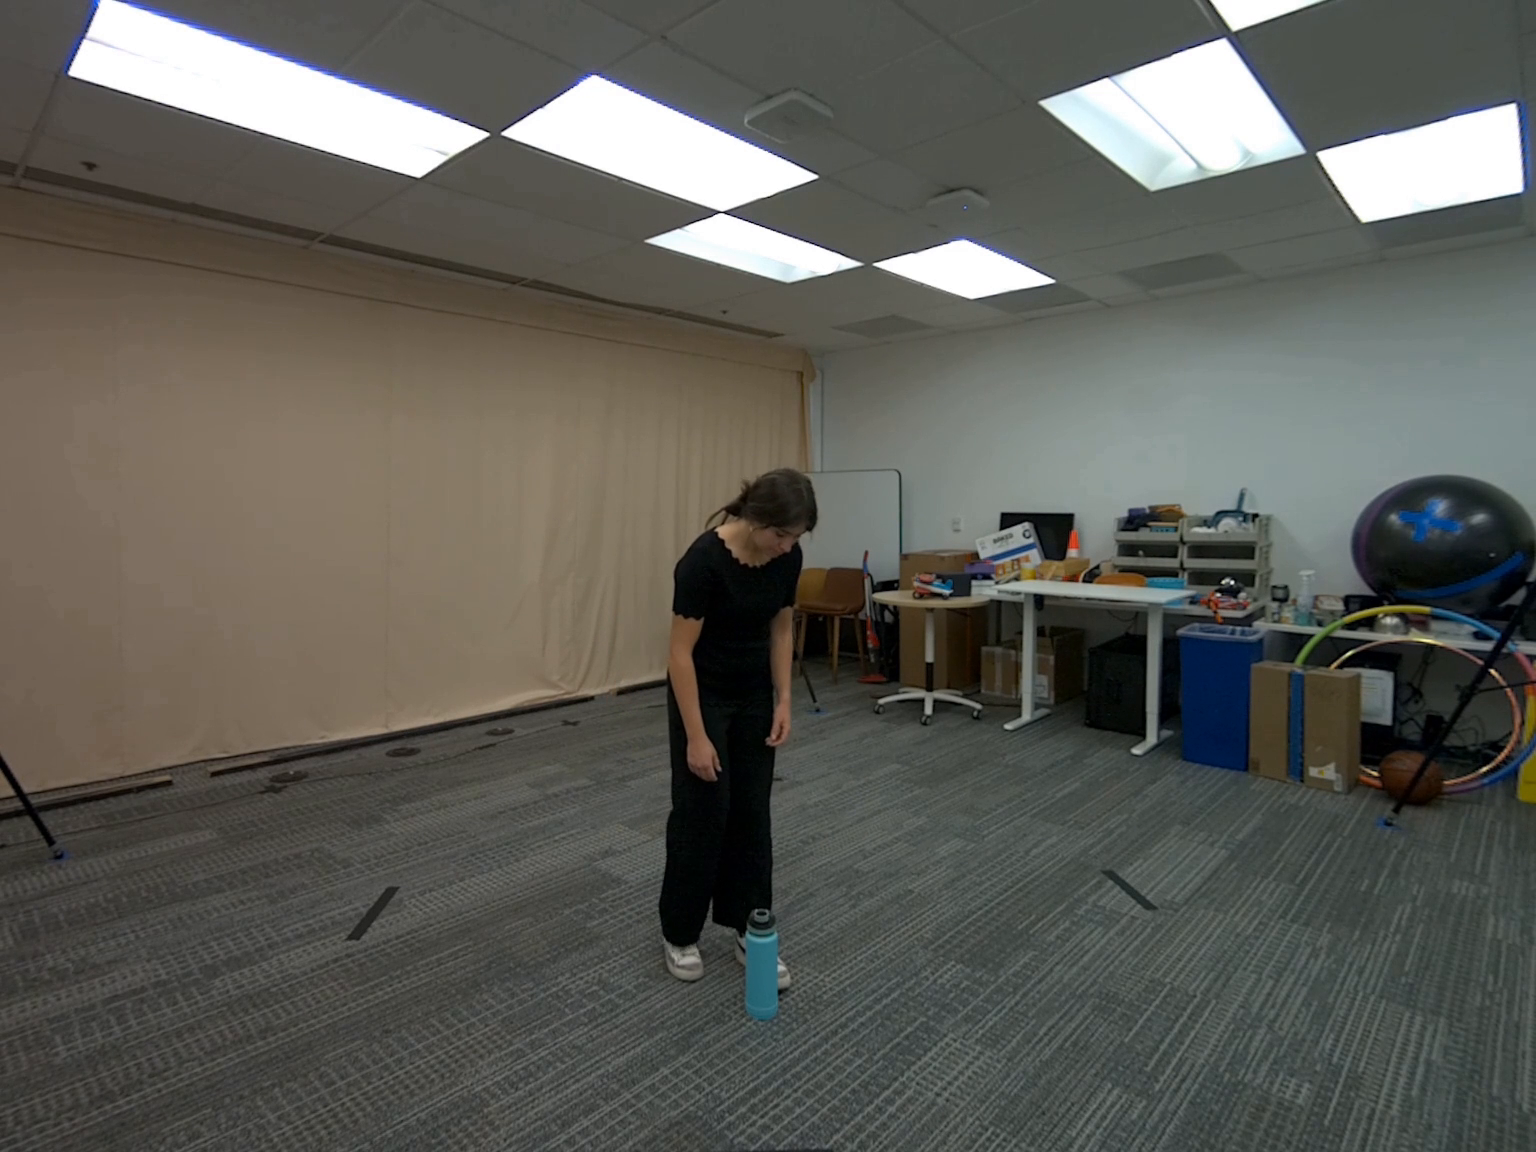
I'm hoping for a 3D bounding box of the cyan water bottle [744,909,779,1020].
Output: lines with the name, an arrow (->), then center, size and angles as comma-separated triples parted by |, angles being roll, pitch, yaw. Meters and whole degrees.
cyan water bottle -> -0.022, 1.053, 2.319 | 0.092, 0.283, 0.092 | -1, 2, -2
